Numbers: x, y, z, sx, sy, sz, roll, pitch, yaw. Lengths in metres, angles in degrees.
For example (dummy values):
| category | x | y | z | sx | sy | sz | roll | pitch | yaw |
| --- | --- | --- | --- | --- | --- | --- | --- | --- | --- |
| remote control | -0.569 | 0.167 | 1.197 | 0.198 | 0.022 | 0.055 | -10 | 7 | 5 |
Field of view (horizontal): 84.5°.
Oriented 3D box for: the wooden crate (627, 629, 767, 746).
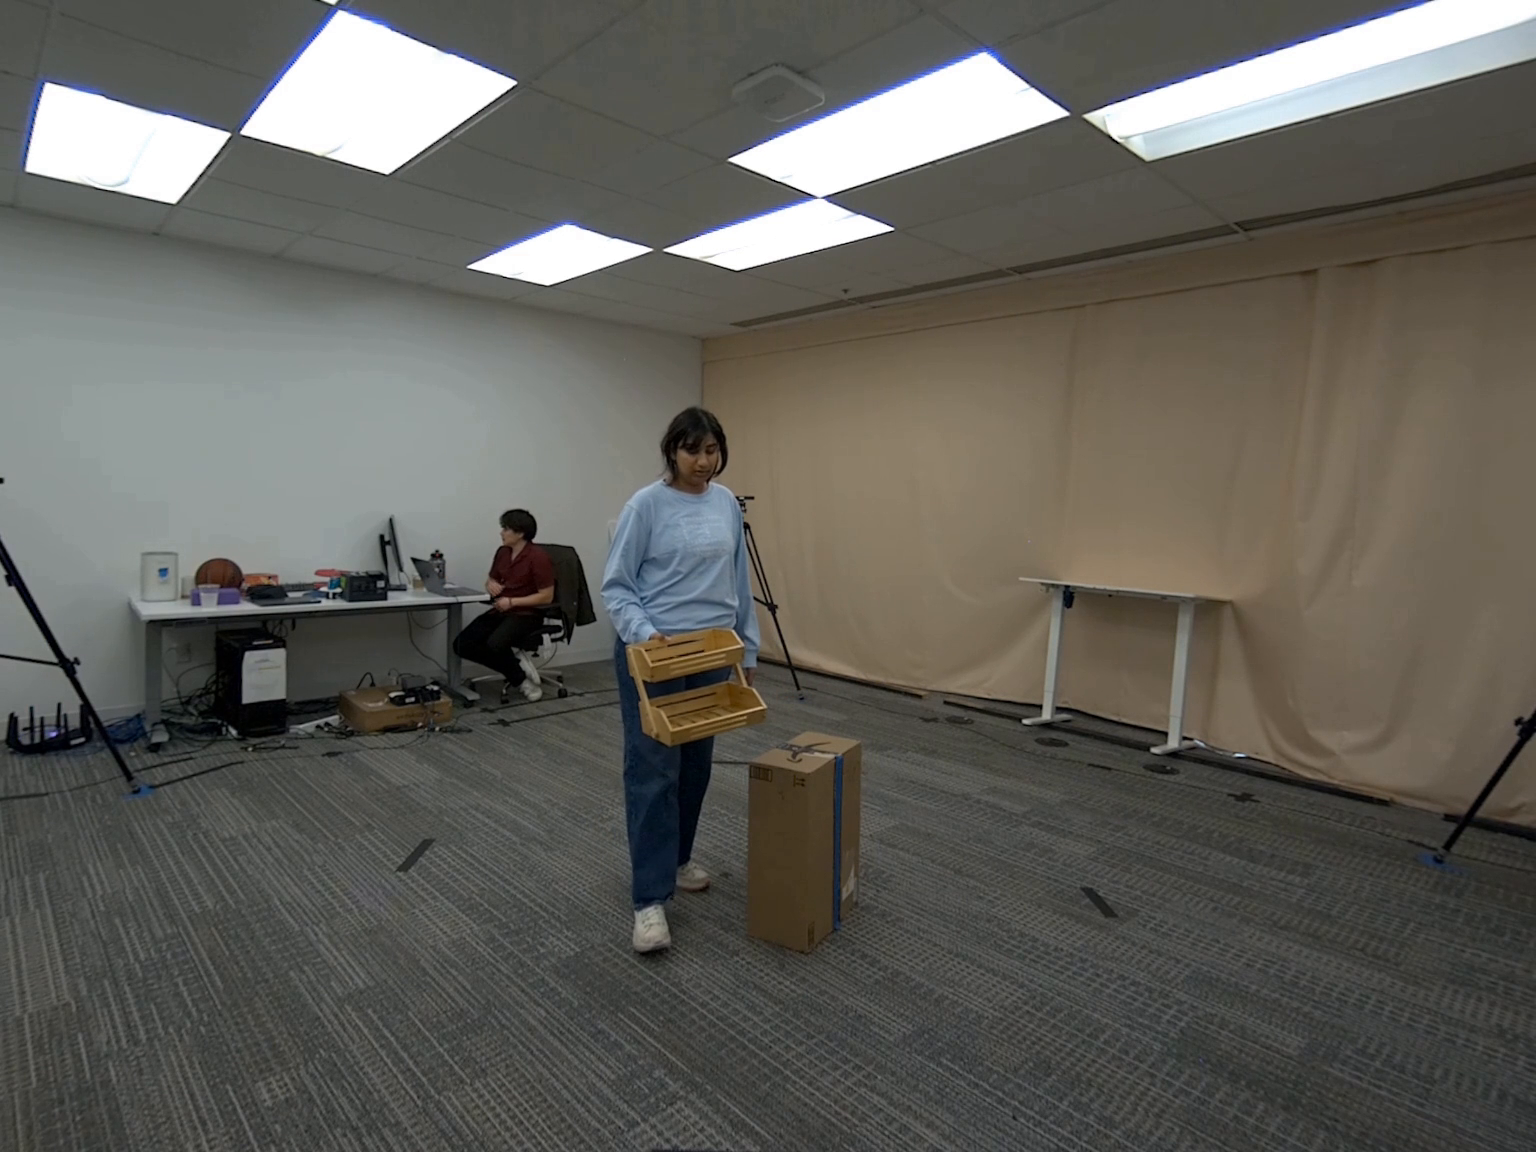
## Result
| category | x | y | z | sx | sy | sz | roll | pitch | yaw |
| --- | --- | --- | --- | --- | --- | --- | --- | --- | --- |
| wooden crate | -0.223 | 0.313 | 2.483 | 0.319 | 0.273 | 0.307 | -10 | 3 | -27 |
